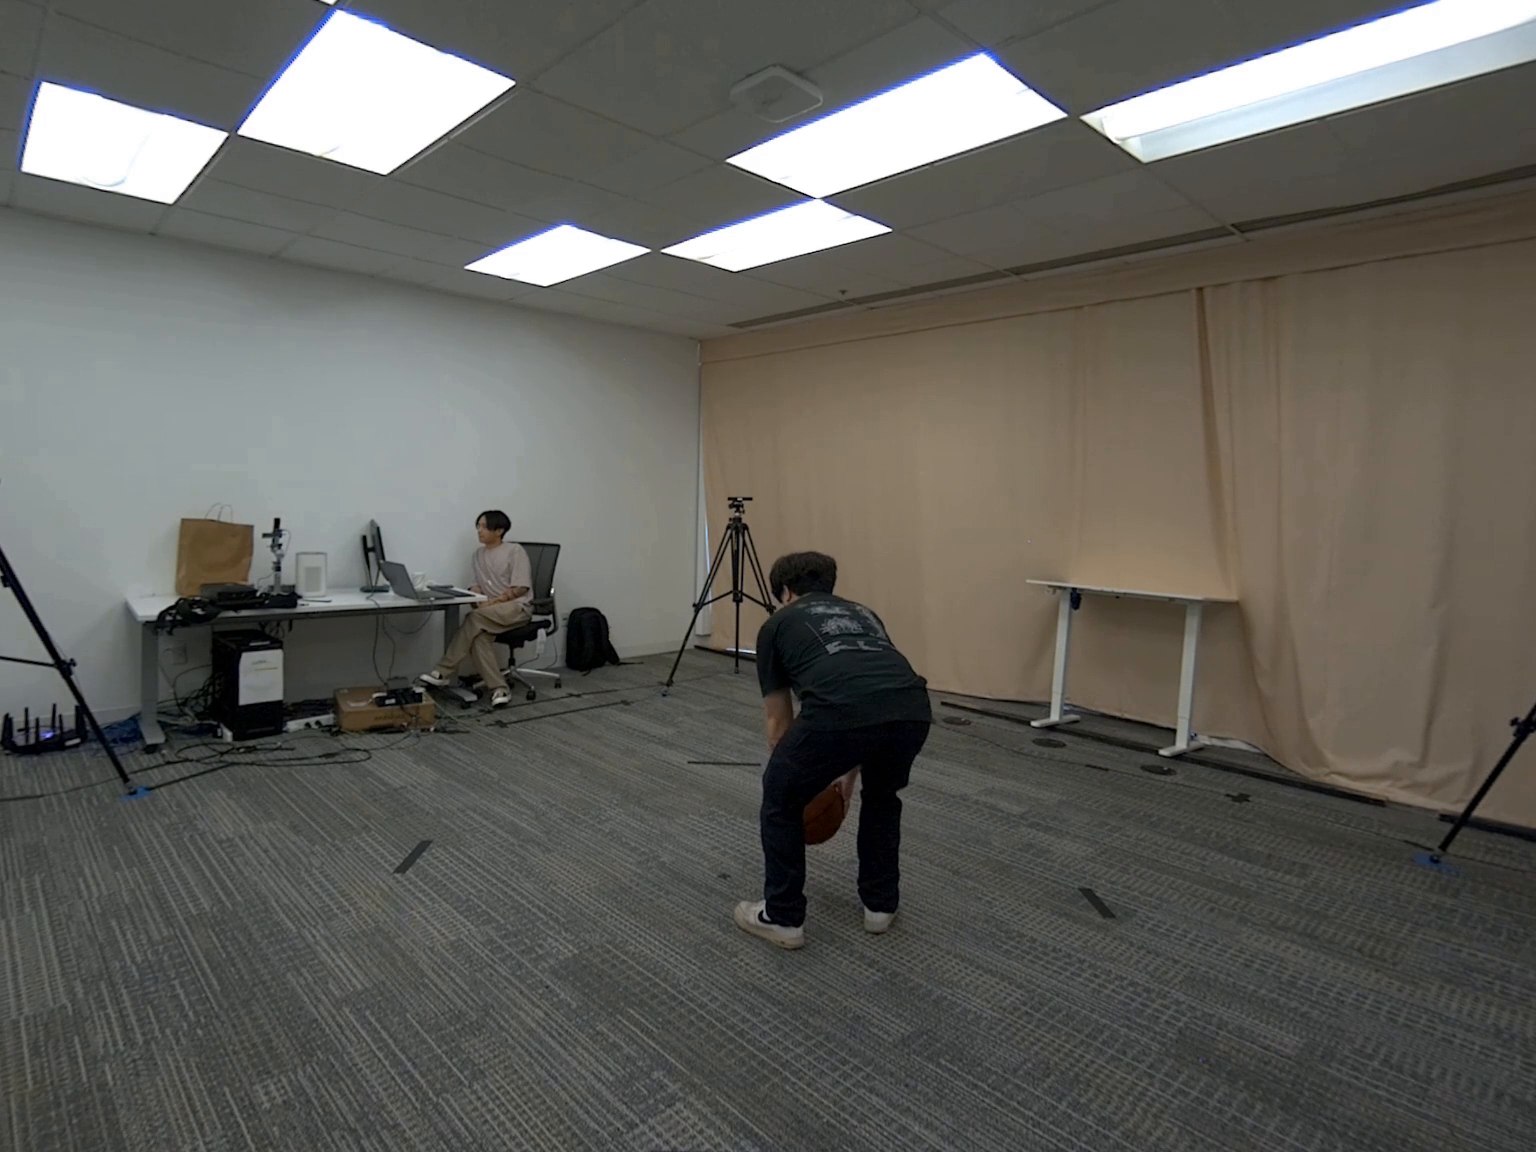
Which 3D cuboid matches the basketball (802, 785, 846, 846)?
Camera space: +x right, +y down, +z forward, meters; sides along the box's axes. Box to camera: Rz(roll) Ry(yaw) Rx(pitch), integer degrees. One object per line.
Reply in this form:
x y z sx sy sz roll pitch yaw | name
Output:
0.146 0.832 3.007 0.236 0.235 0.237 1 4 -1 | basketball
